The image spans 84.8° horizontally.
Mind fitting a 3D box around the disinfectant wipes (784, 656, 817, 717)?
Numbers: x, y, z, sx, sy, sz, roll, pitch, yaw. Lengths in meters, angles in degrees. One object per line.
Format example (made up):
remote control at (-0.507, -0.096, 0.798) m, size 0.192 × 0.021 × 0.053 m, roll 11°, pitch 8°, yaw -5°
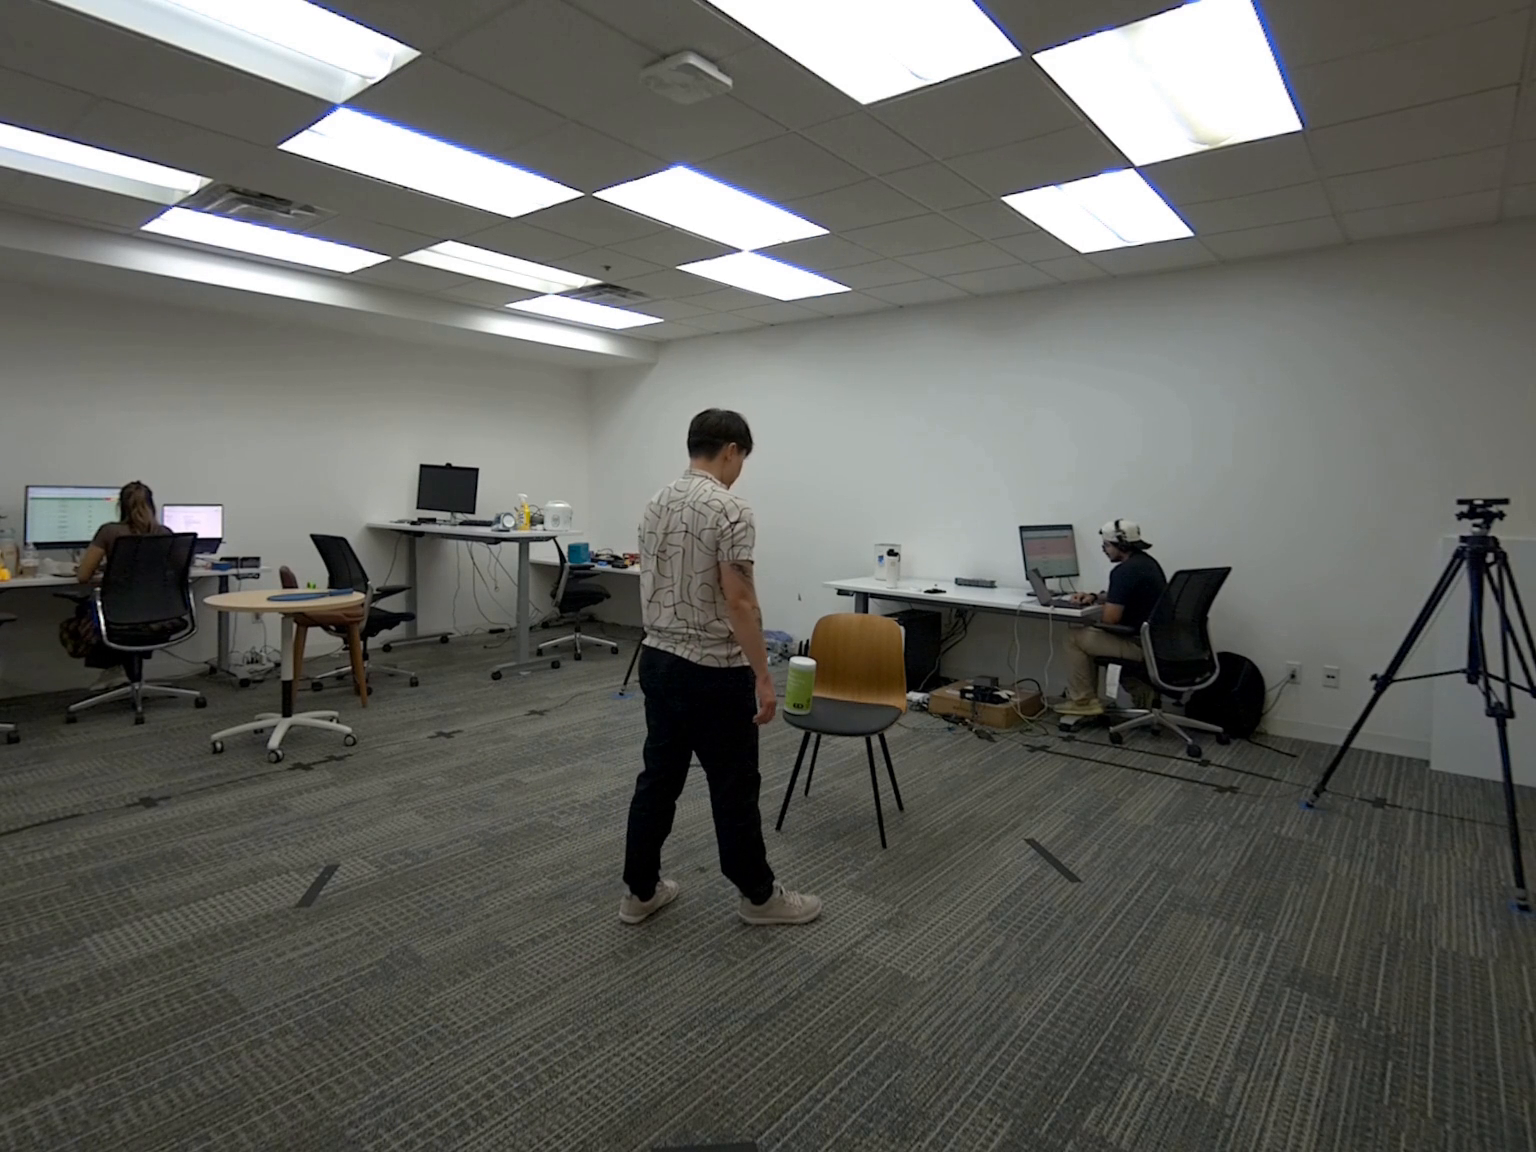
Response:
disinfectant wipes at (0.126, 0.445, 3.470) m, size 0.117 × 0.216 × 0.119 m, roll 5°, pitch 9°, yaw -3°
